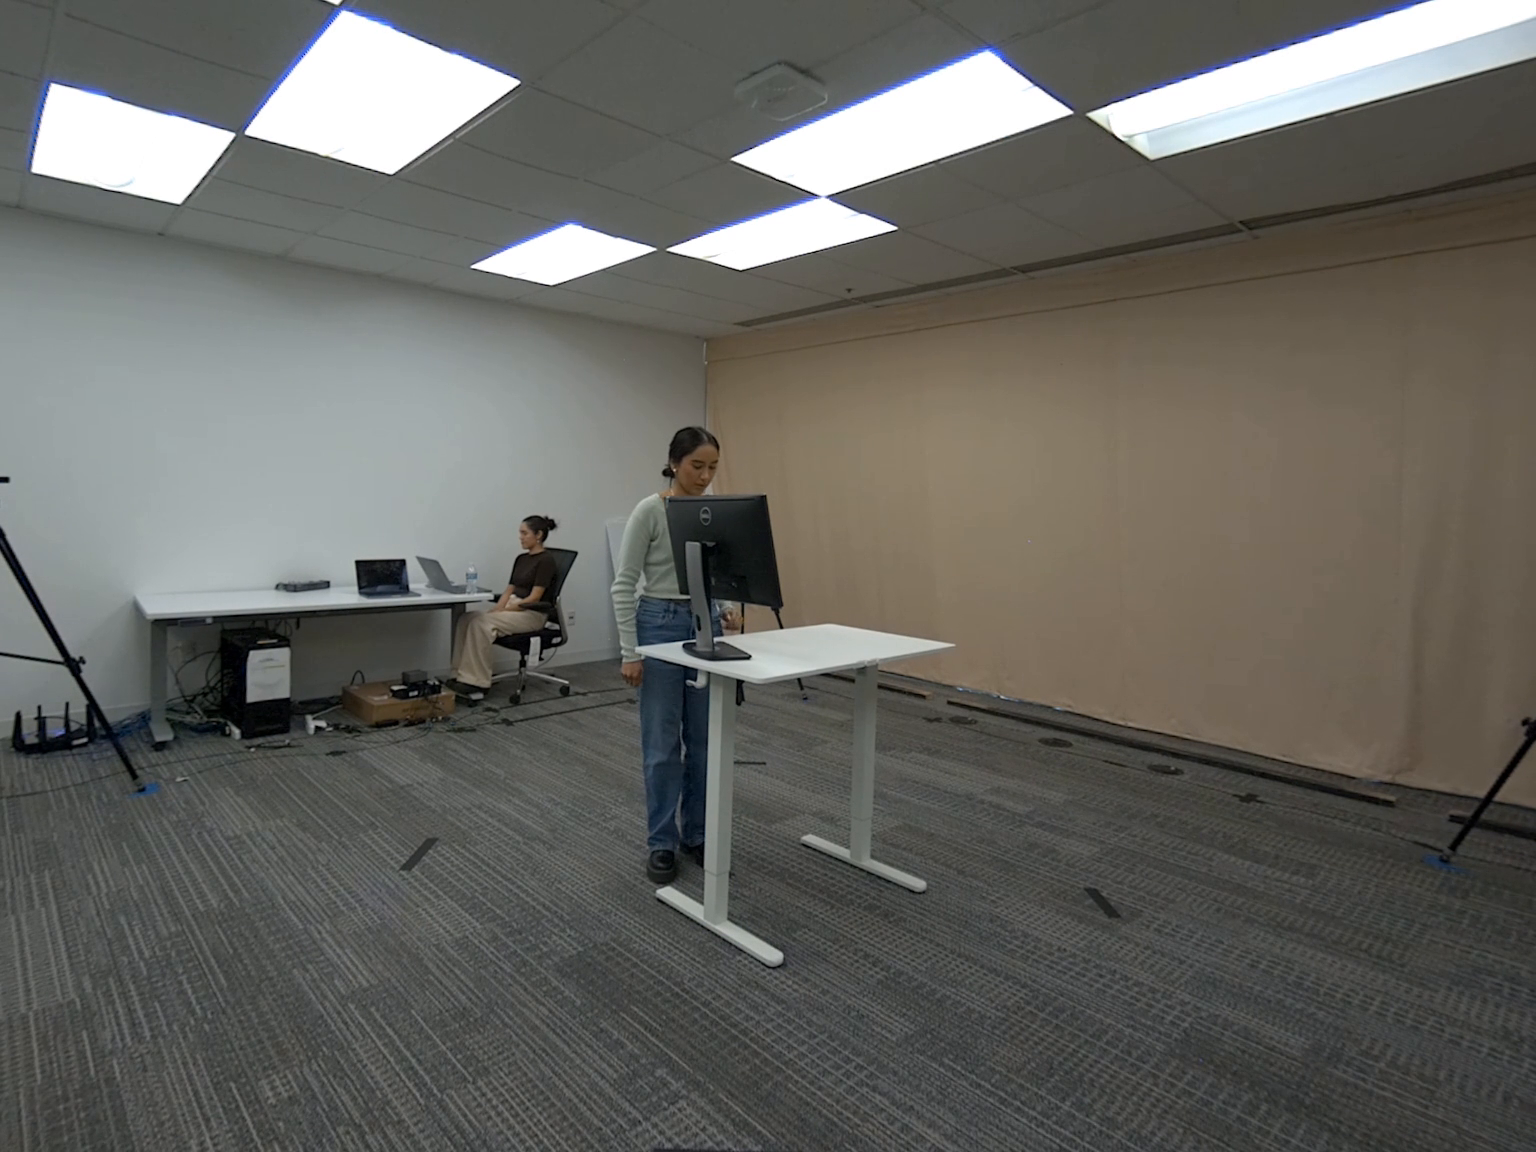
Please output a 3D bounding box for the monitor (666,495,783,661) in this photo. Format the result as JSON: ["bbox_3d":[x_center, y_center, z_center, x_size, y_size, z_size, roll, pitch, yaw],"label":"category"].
[{"bbox_3d":[-0.192,0.001,2.721,0.183,0.522,0.552,-1,3,-40],"label":"monitor"}]
